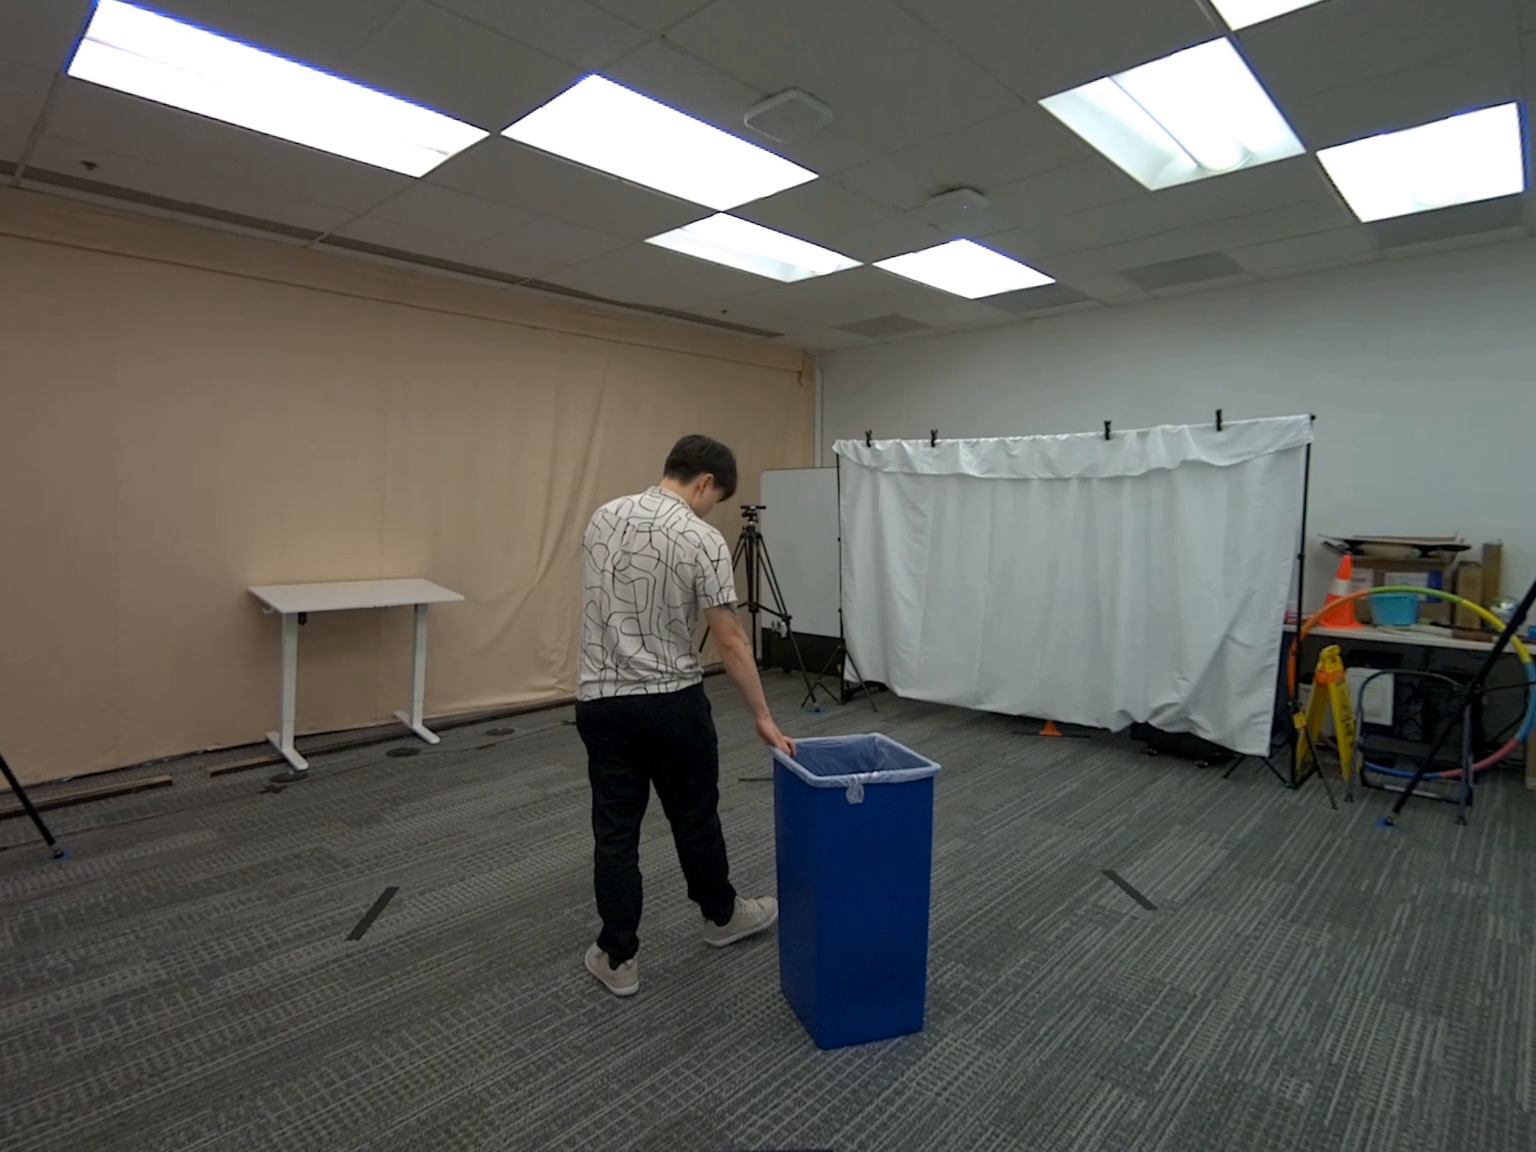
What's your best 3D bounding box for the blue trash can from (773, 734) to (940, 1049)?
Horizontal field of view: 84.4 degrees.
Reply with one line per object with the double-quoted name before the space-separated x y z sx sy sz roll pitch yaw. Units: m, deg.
"blue trash can" 0.227 0.842 2.315 0.371 0.712 0.381 0 3 -18
